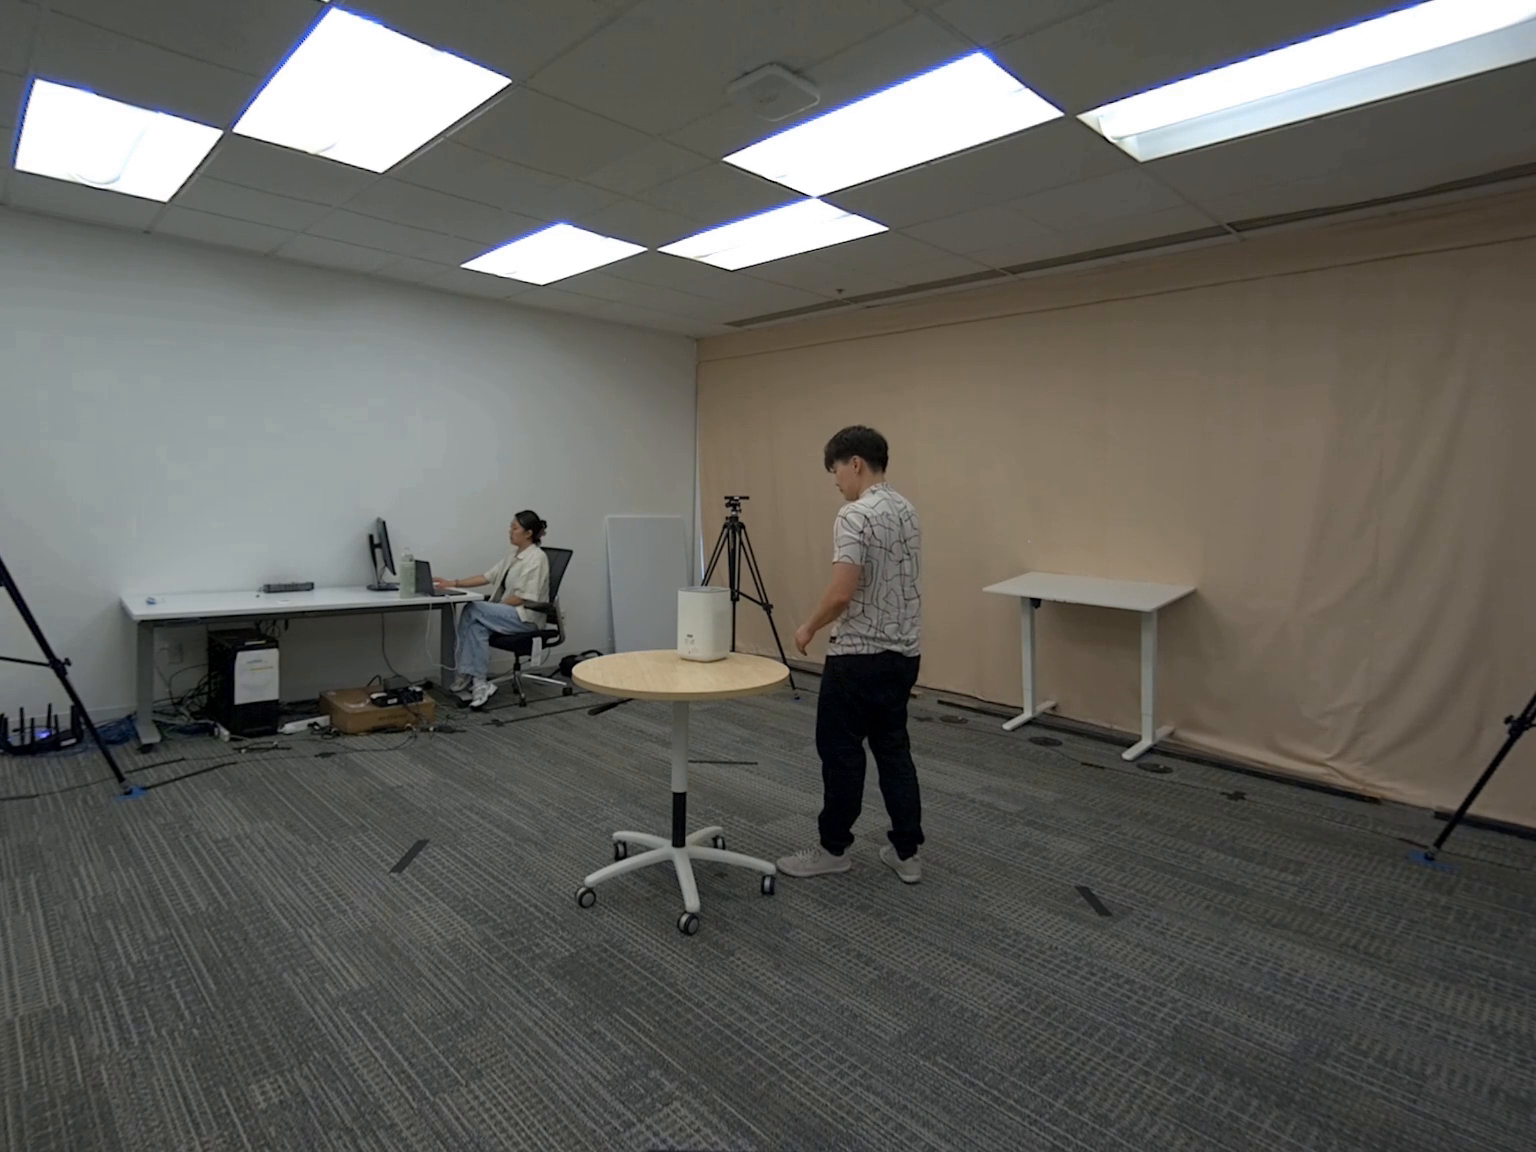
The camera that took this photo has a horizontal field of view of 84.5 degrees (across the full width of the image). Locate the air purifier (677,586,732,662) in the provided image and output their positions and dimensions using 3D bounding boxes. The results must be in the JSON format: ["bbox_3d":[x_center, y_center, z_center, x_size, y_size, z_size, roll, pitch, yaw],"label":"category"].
[{"bbox_3d":[-0.240,0.178,3.176,0.175,0.265,0.168,3,4,32],"label":"air purifier"}]
